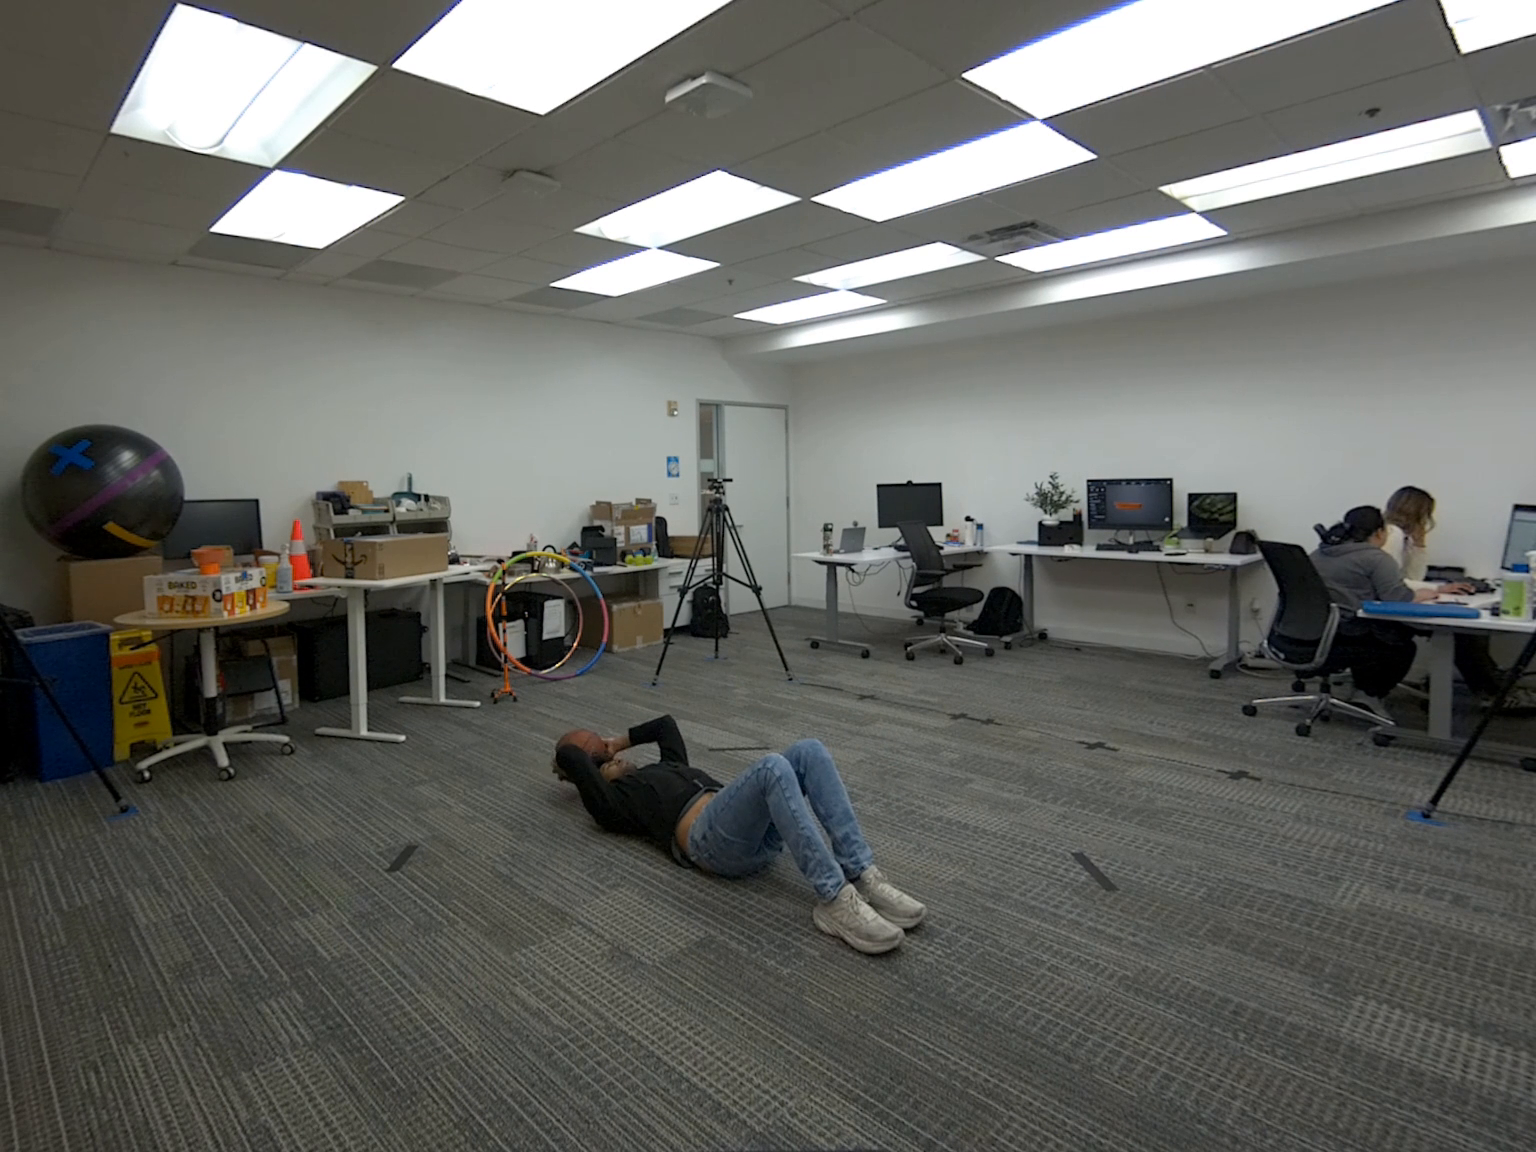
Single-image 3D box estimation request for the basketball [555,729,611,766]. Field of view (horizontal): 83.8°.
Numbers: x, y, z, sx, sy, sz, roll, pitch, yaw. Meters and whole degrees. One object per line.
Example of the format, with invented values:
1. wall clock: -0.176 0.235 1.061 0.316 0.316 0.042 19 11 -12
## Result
1. basketball: -0.829 0.794 3.820 0.236 0.235 0.237 -1 5 -2
